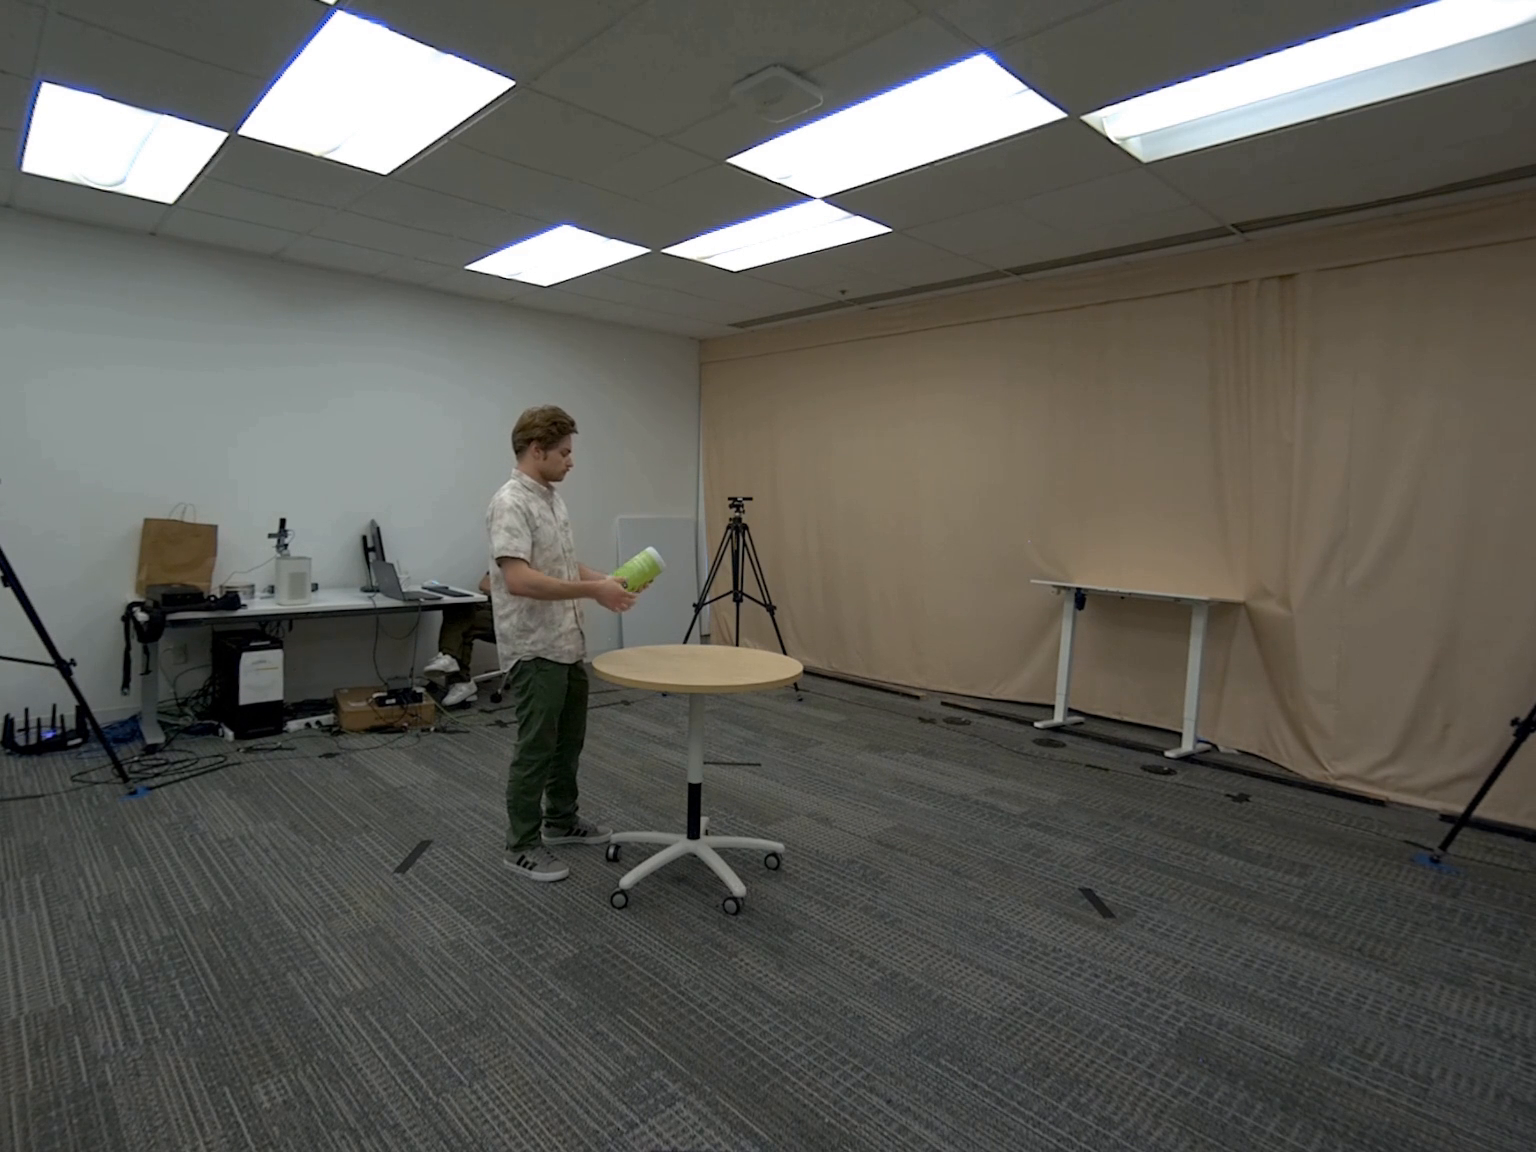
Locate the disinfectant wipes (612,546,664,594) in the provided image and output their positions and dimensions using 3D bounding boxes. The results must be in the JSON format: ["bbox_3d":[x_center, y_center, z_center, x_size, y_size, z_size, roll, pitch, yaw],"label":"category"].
[{"bbox_3d":[-0.512,-0.013,3.151,0.216,0.116,0.120,-35,20,-22],"label":"disinfectant wipes"}]
